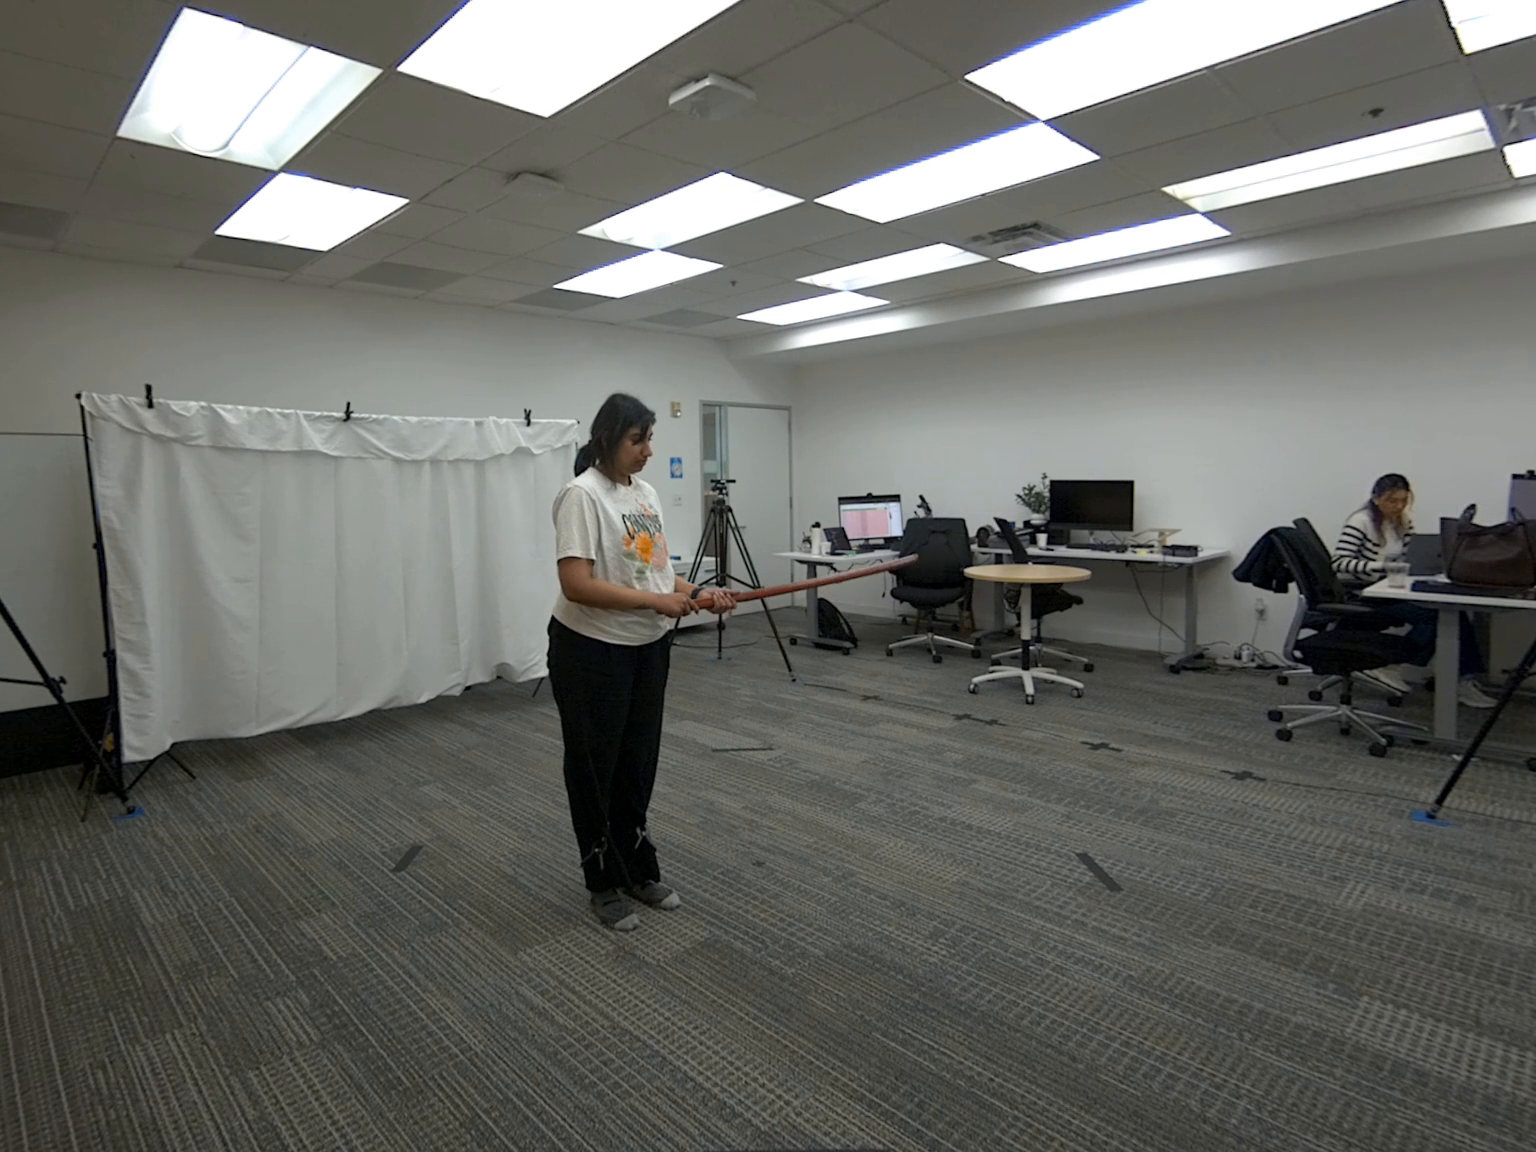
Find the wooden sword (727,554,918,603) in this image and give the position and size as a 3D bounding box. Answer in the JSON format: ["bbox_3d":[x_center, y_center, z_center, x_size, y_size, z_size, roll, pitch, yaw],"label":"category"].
[{"bbox_3d":[0.103,0.042,2.891,1.012,0.051,0.024,-12,3,-15],"label":"wooden sword"}]
